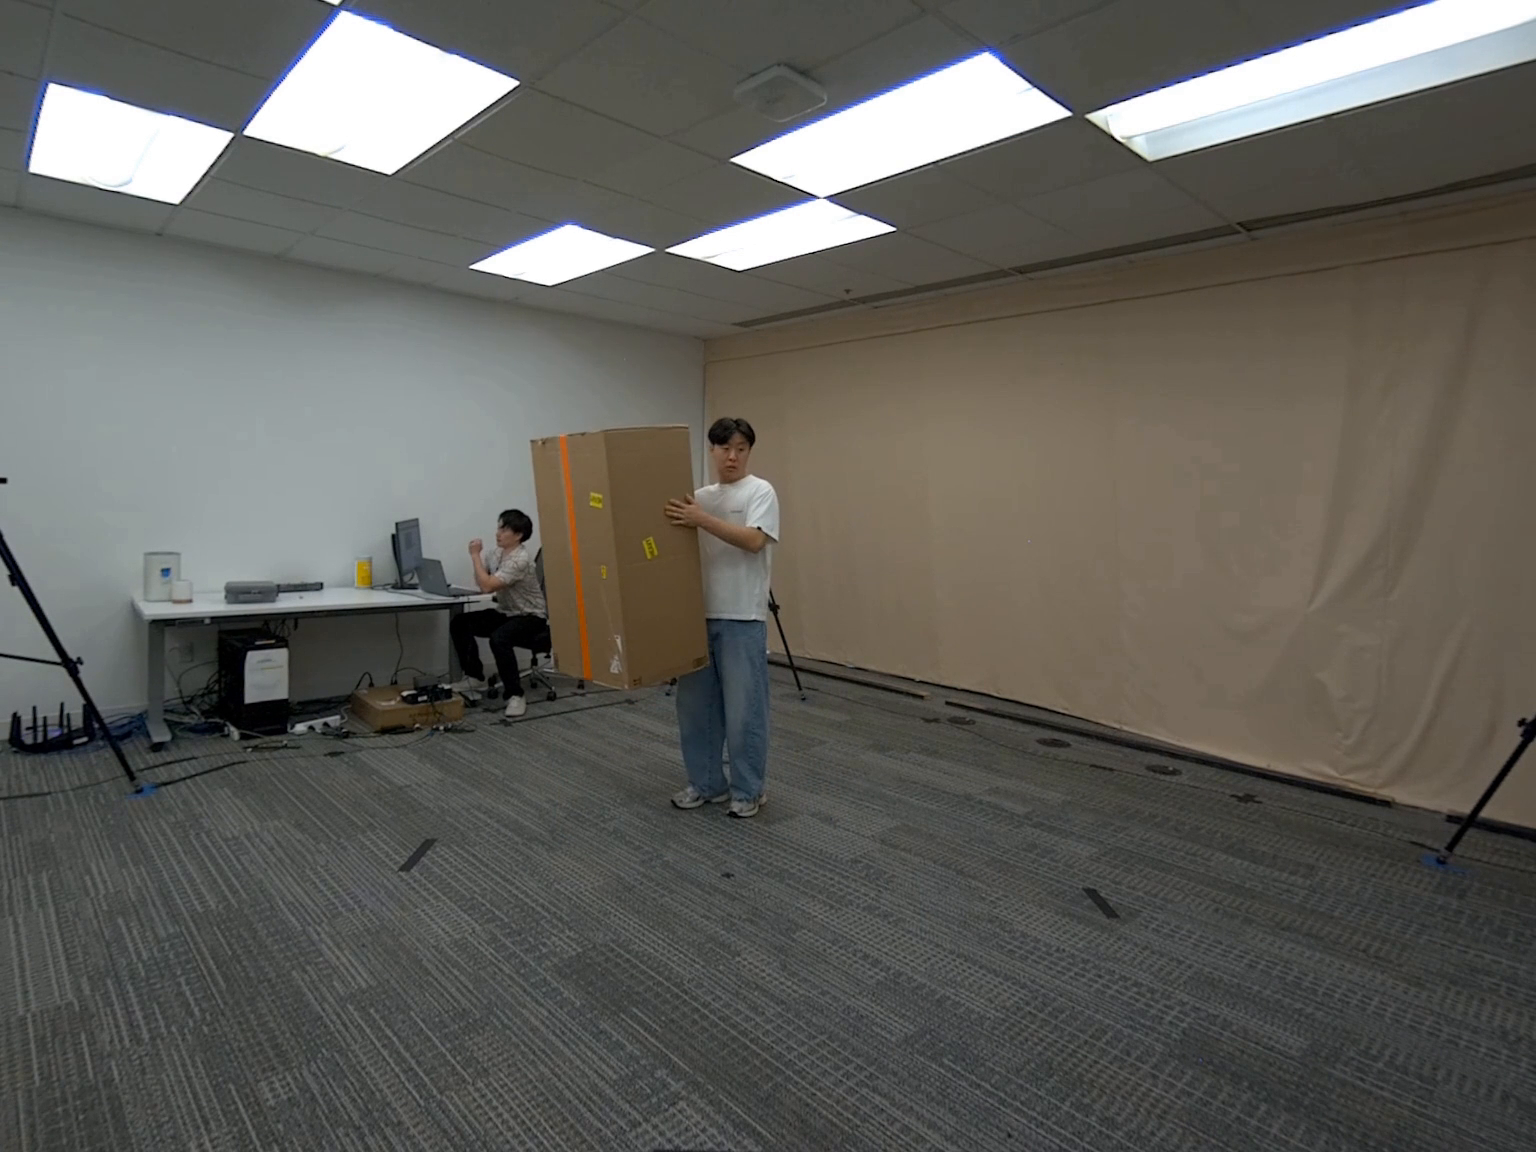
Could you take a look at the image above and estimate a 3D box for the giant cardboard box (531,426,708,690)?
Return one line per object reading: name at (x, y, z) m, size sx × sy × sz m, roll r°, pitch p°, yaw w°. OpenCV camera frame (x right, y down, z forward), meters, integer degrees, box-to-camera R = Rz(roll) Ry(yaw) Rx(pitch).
giant cardboard box at (-0.641, -0.102, 3.581) m, size 0.418 × 1.020 × 0.592 m, roll -11°, pitch 10°, yaw -43°
